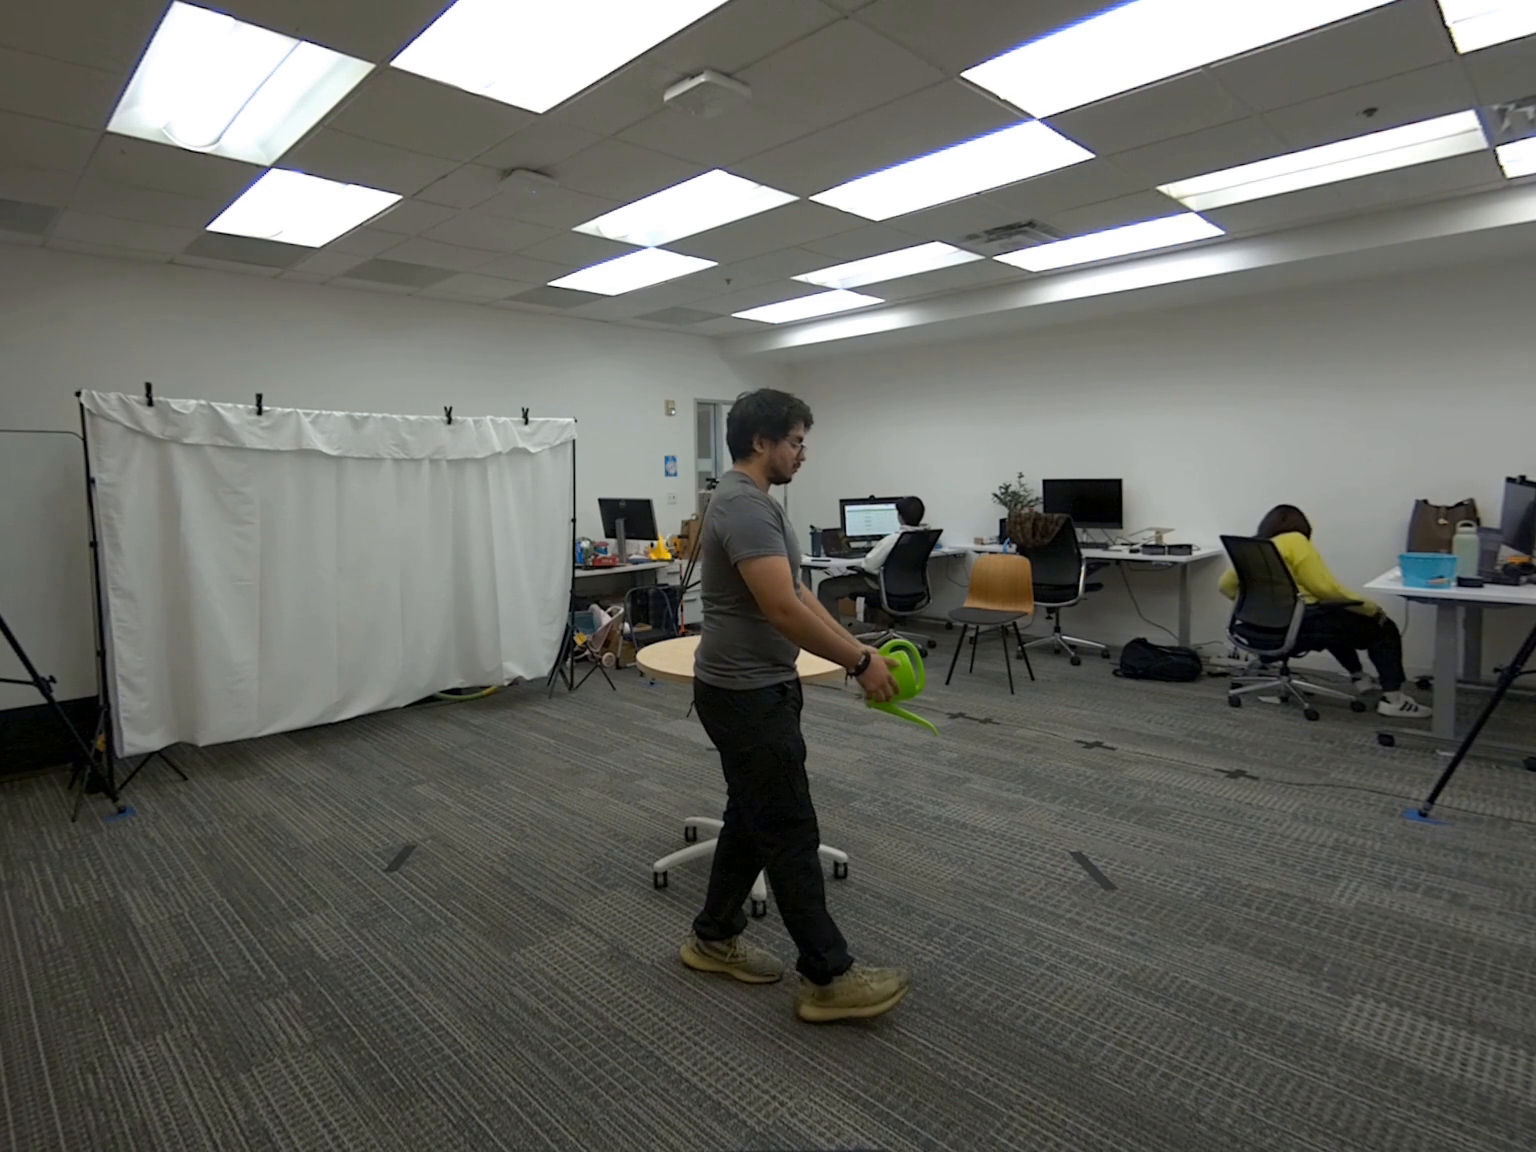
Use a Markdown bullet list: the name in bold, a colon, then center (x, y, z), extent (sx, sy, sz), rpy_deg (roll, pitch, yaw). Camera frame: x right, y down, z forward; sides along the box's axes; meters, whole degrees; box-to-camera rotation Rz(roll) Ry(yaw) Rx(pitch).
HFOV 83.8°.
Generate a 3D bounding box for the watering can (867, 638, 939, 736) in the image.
- **watering can**: center (0.349, 0.313, 2.285), extent (0.176, 0.281, 0.097), rpy_deg (-14, -8, -5)
